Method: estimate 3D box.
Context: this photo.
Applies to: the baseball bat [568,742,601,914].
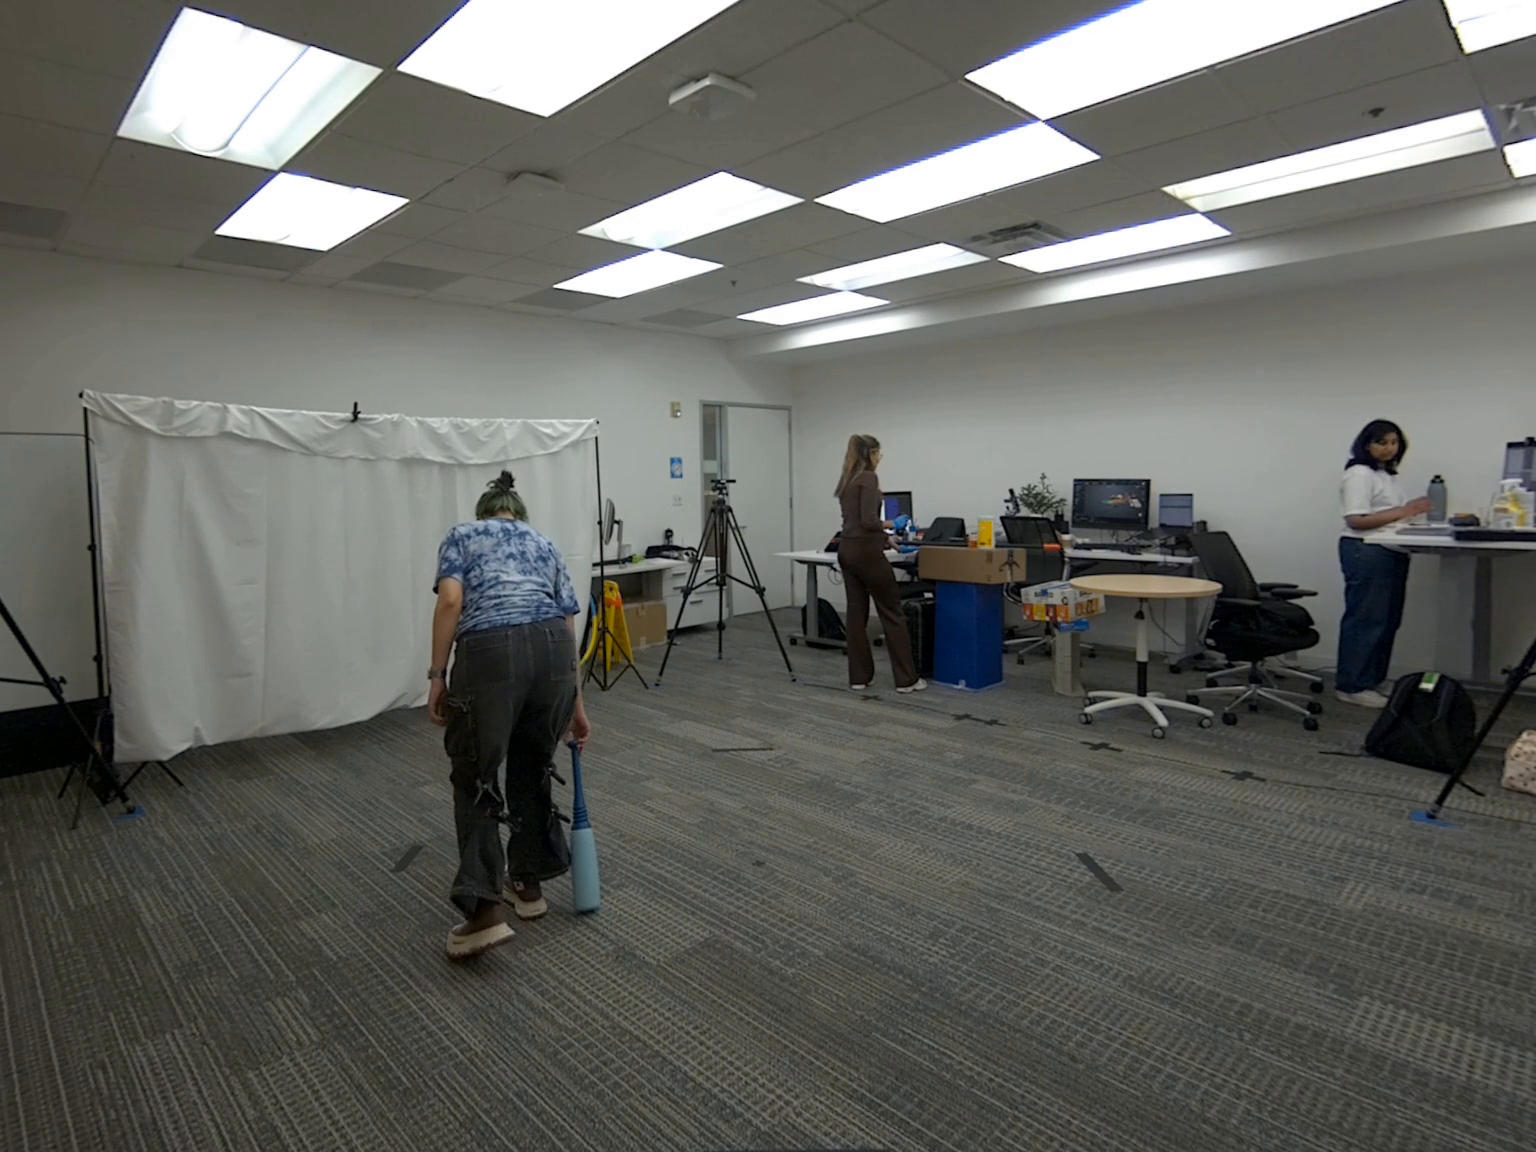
[{"bbox_3d":[-0.626,0.829,2.854,0.089,0.553,0.088,-7,-17,-4],"label":"baseball bat"}]
